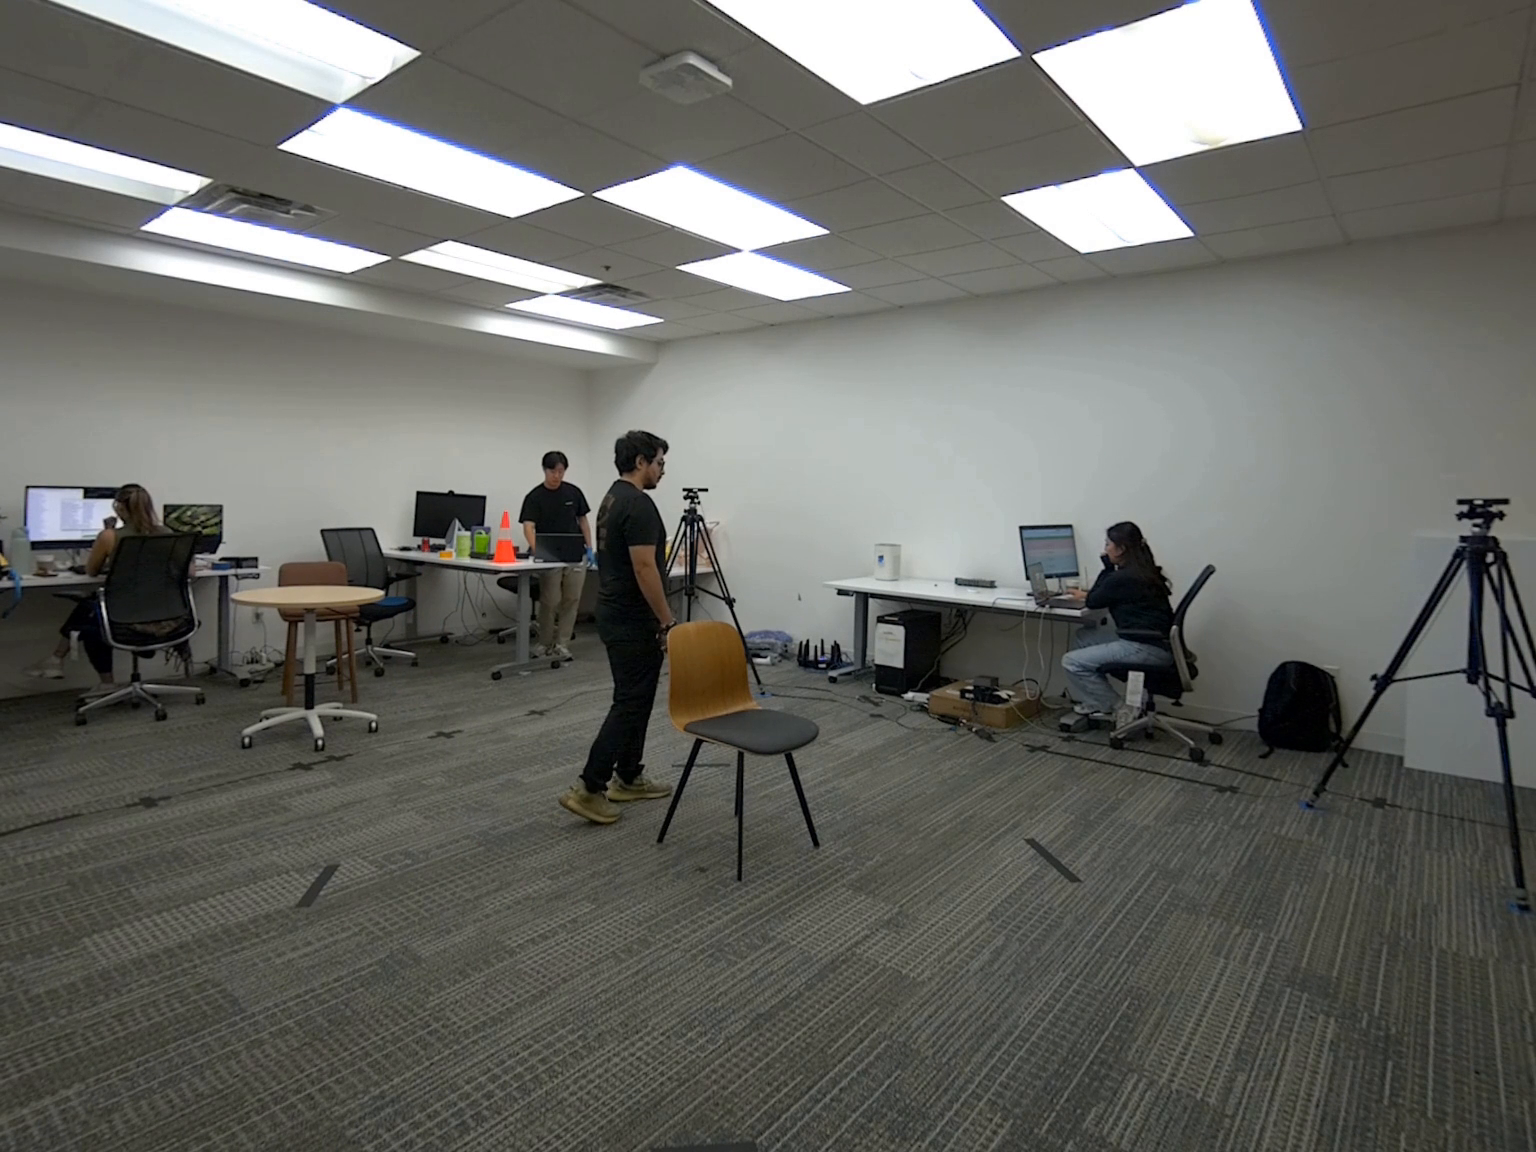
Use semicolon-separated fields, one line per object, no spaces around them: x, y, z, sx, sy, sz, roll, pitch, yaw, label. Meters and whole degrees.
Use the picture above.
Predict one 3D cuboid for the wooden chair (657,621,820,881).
-0.109;0.627;3.297;0.539;0.878;0.463;-2;0;44;wooden chair
